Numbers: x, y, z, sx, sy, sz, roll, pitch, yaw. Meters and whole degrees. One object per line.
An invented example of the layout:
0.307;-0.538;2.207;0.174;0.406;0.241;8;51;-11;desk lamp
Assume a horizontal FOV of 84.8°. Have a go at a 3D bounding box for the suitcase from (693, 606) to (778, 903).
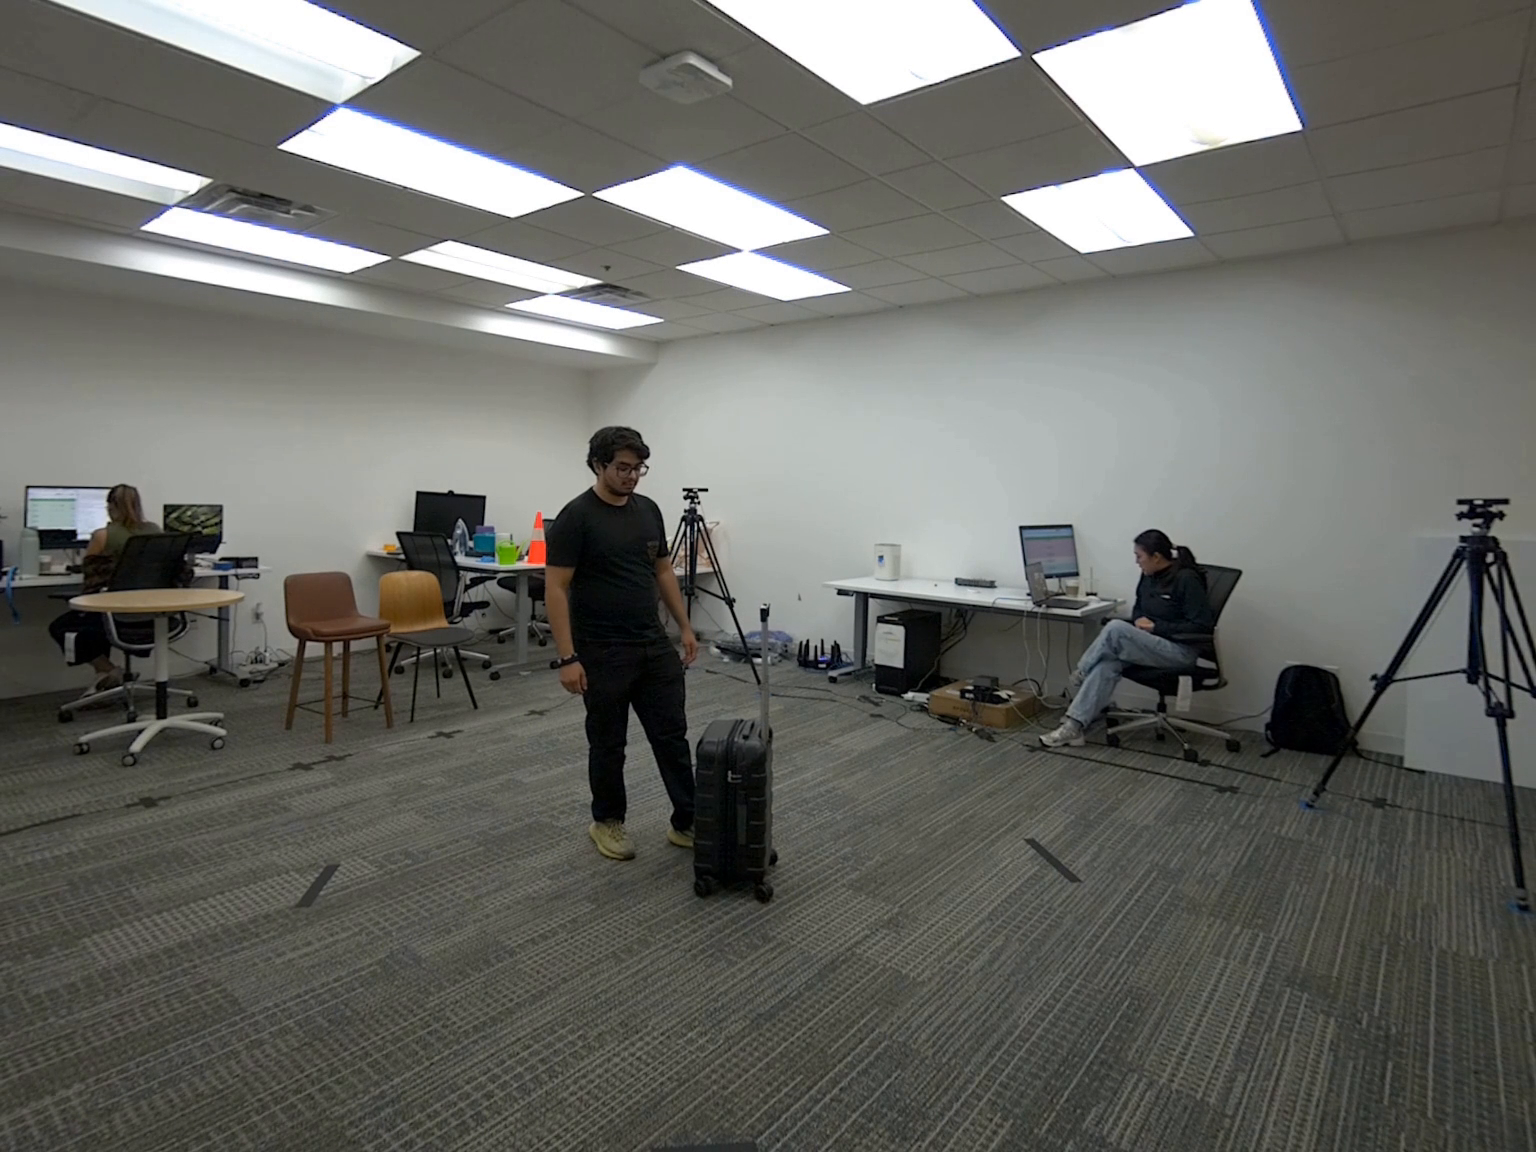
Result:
-0.128;0.599;3.026;0.259;0.977;0.382;-2;2;6;suitcase
